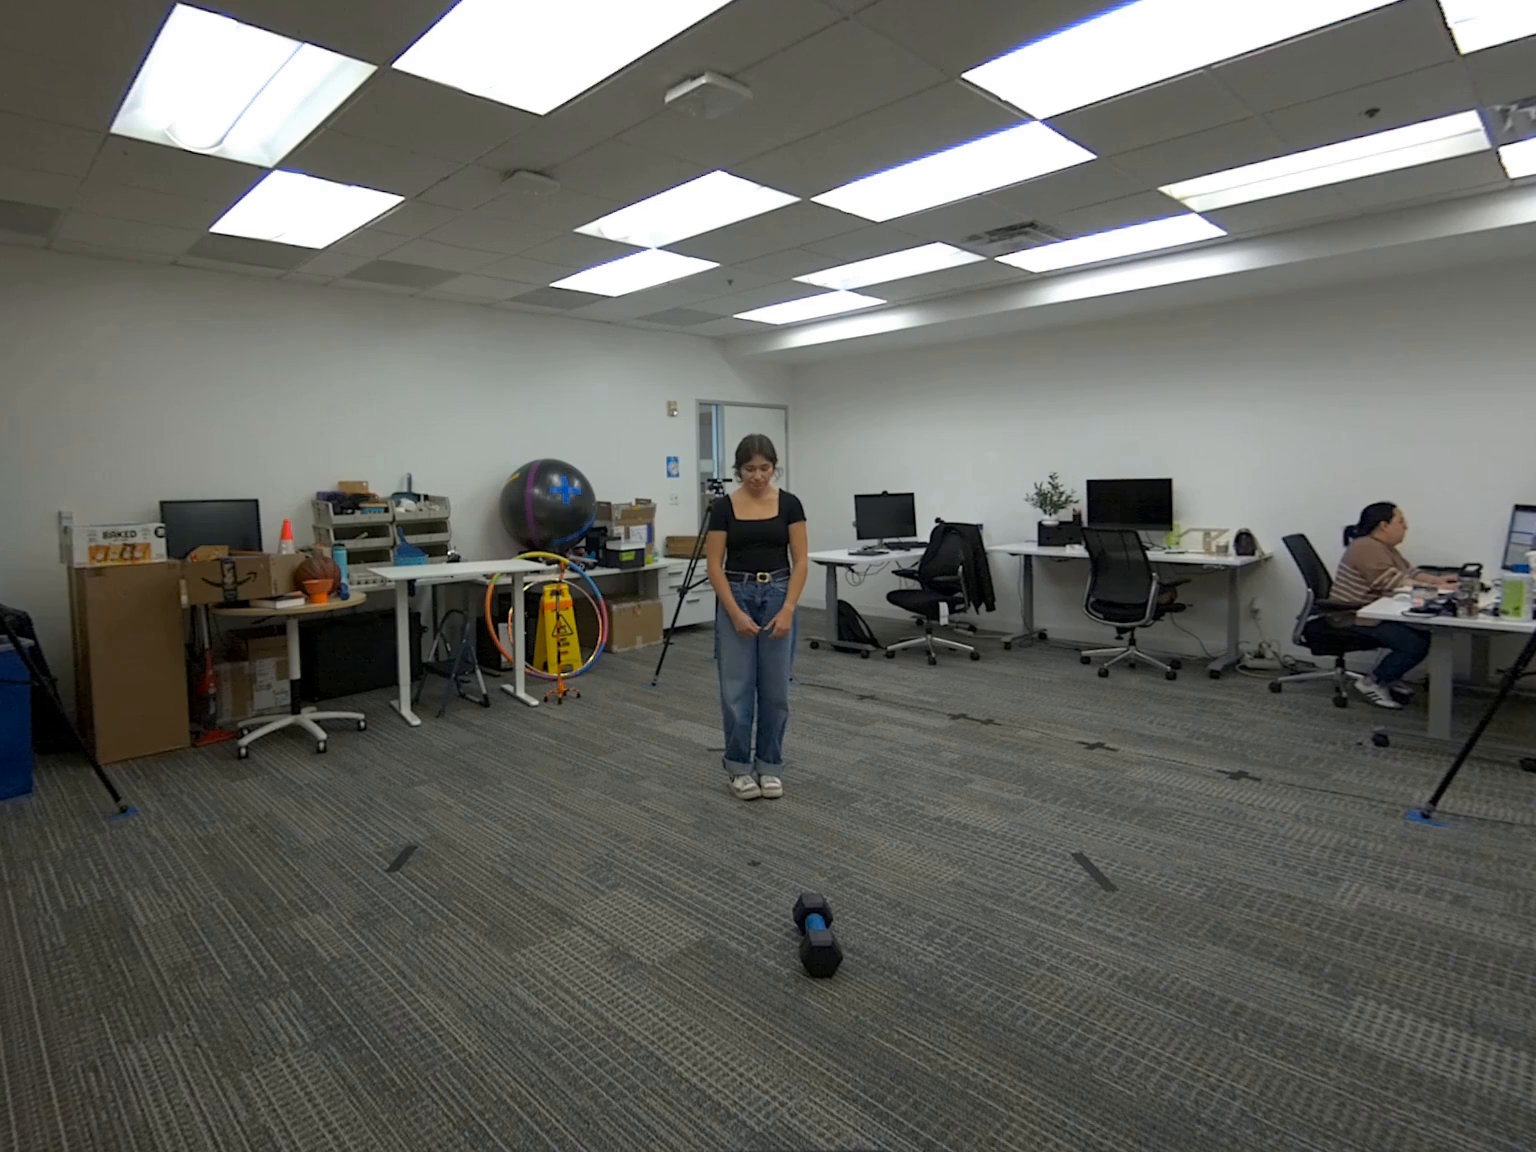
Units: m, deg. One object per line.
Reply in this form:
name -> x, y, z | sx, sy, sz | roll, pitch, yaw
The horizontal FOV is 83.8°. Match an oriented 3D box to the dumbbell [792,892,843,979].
dumbbell -> 0.146, 1.063, 2.522 | 0.109, 0.122, 0.295 | -32, 6, 1
